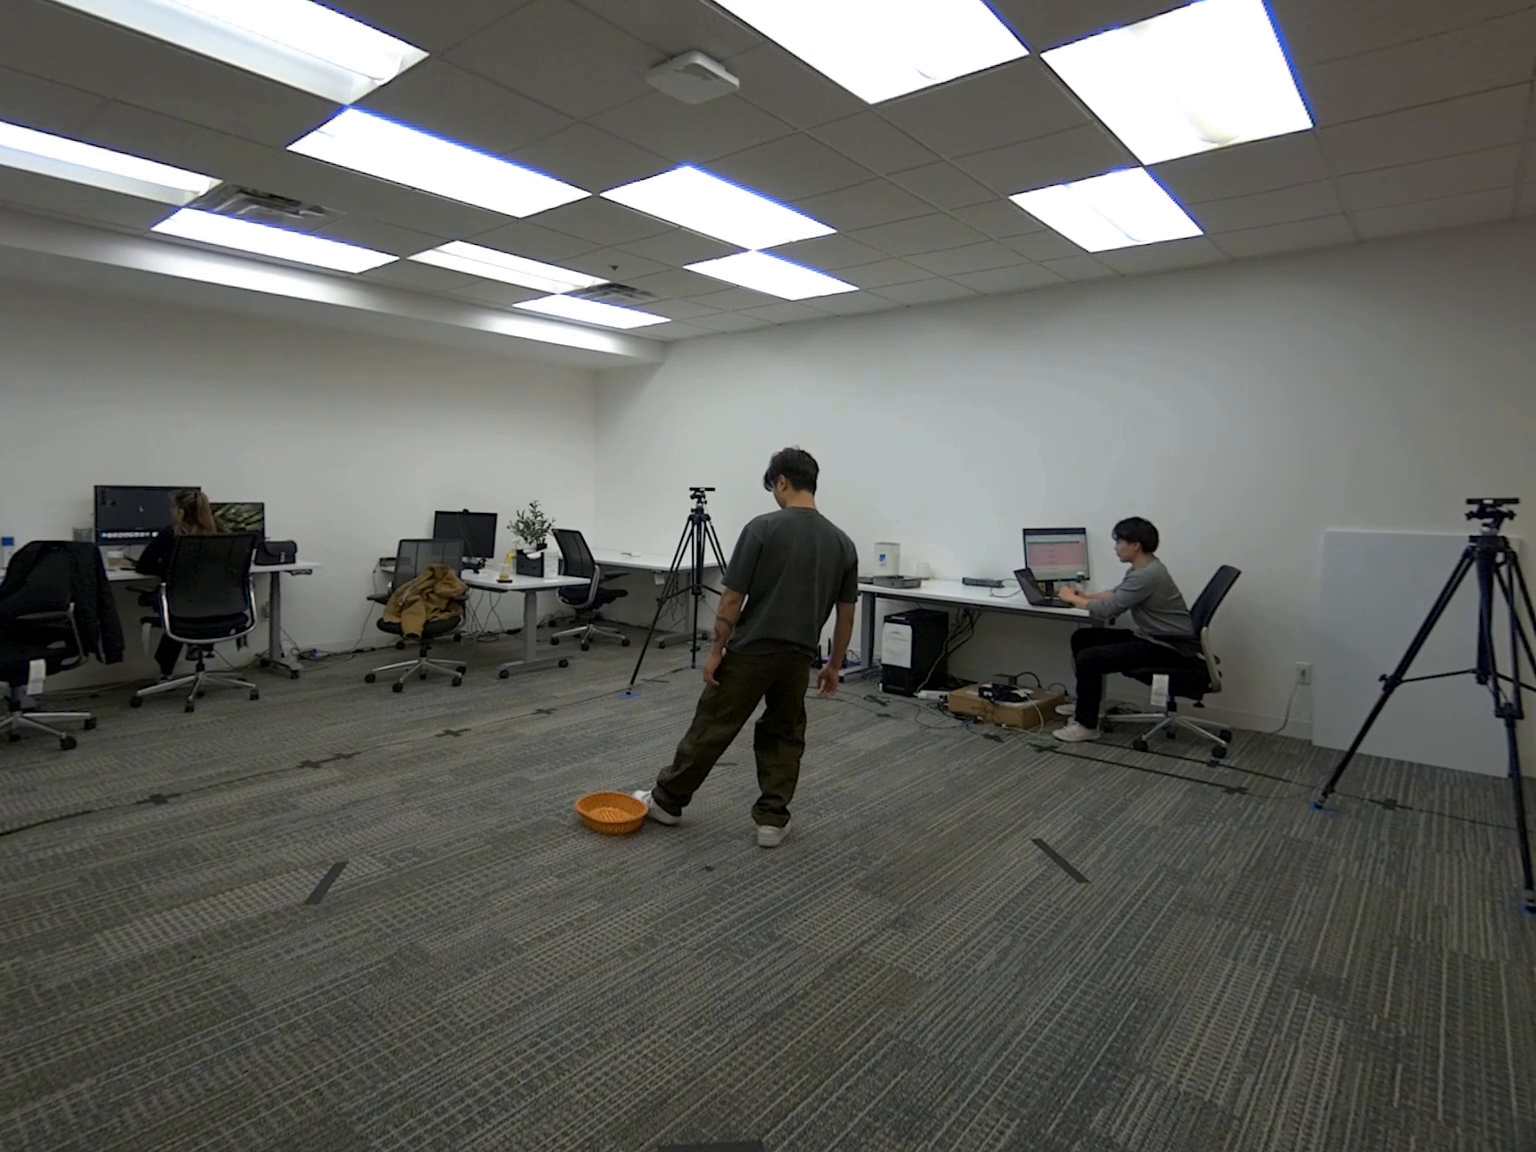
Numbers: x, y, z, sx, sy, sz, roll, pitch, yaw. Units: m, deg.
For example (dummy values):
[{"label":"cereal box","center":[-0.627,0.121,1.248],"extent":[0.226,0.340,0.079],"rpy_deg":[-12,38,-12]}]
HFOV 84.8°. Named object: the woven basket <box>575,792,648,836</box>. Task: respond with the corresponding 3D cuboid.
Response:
[{"label":"woven basket","center":[-0.660,0.979,3.519],"extent":[0.245,0.073,0.362],"rpy_deg":[-7,9,-42]}]
